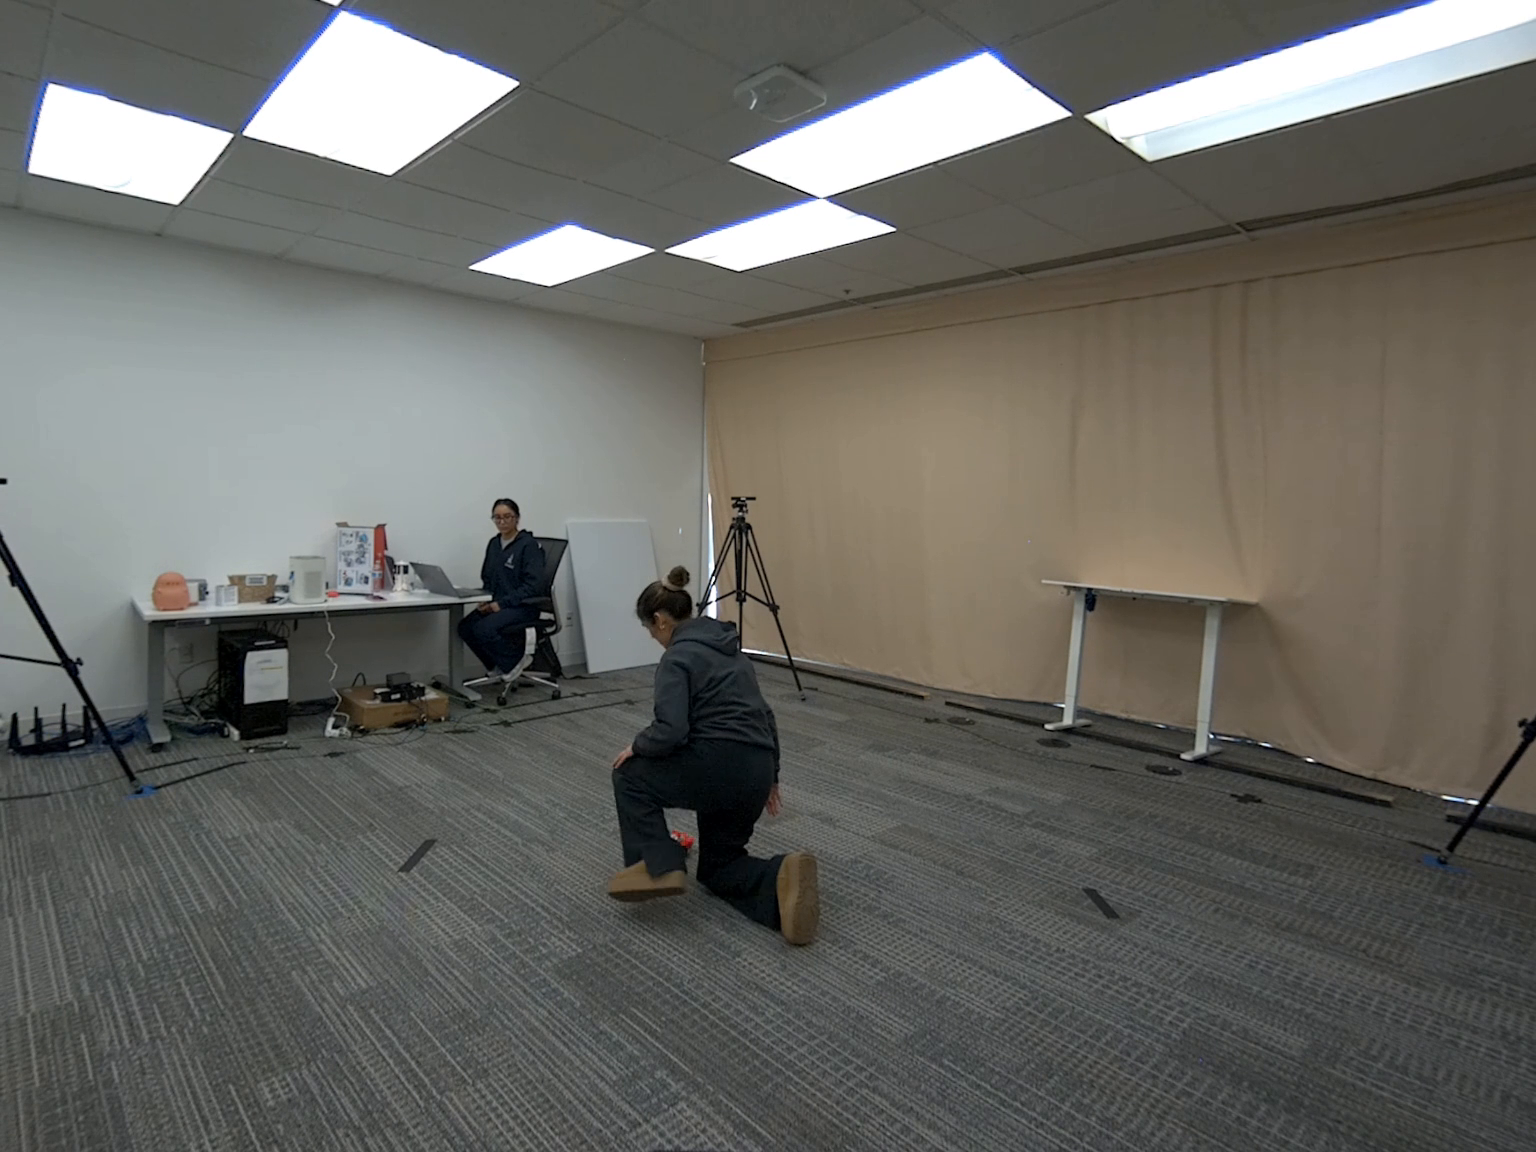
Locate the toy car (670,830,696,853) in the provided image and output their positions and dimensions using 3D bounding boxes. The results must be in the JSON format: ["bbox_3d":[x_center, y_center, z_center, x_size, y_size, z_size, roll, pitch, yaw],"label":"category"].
[{"bbox_3d":[-0.411,1.057,3.257,0.250,0.082,0.133,-18,16,-38],"label":"toy car"}]
